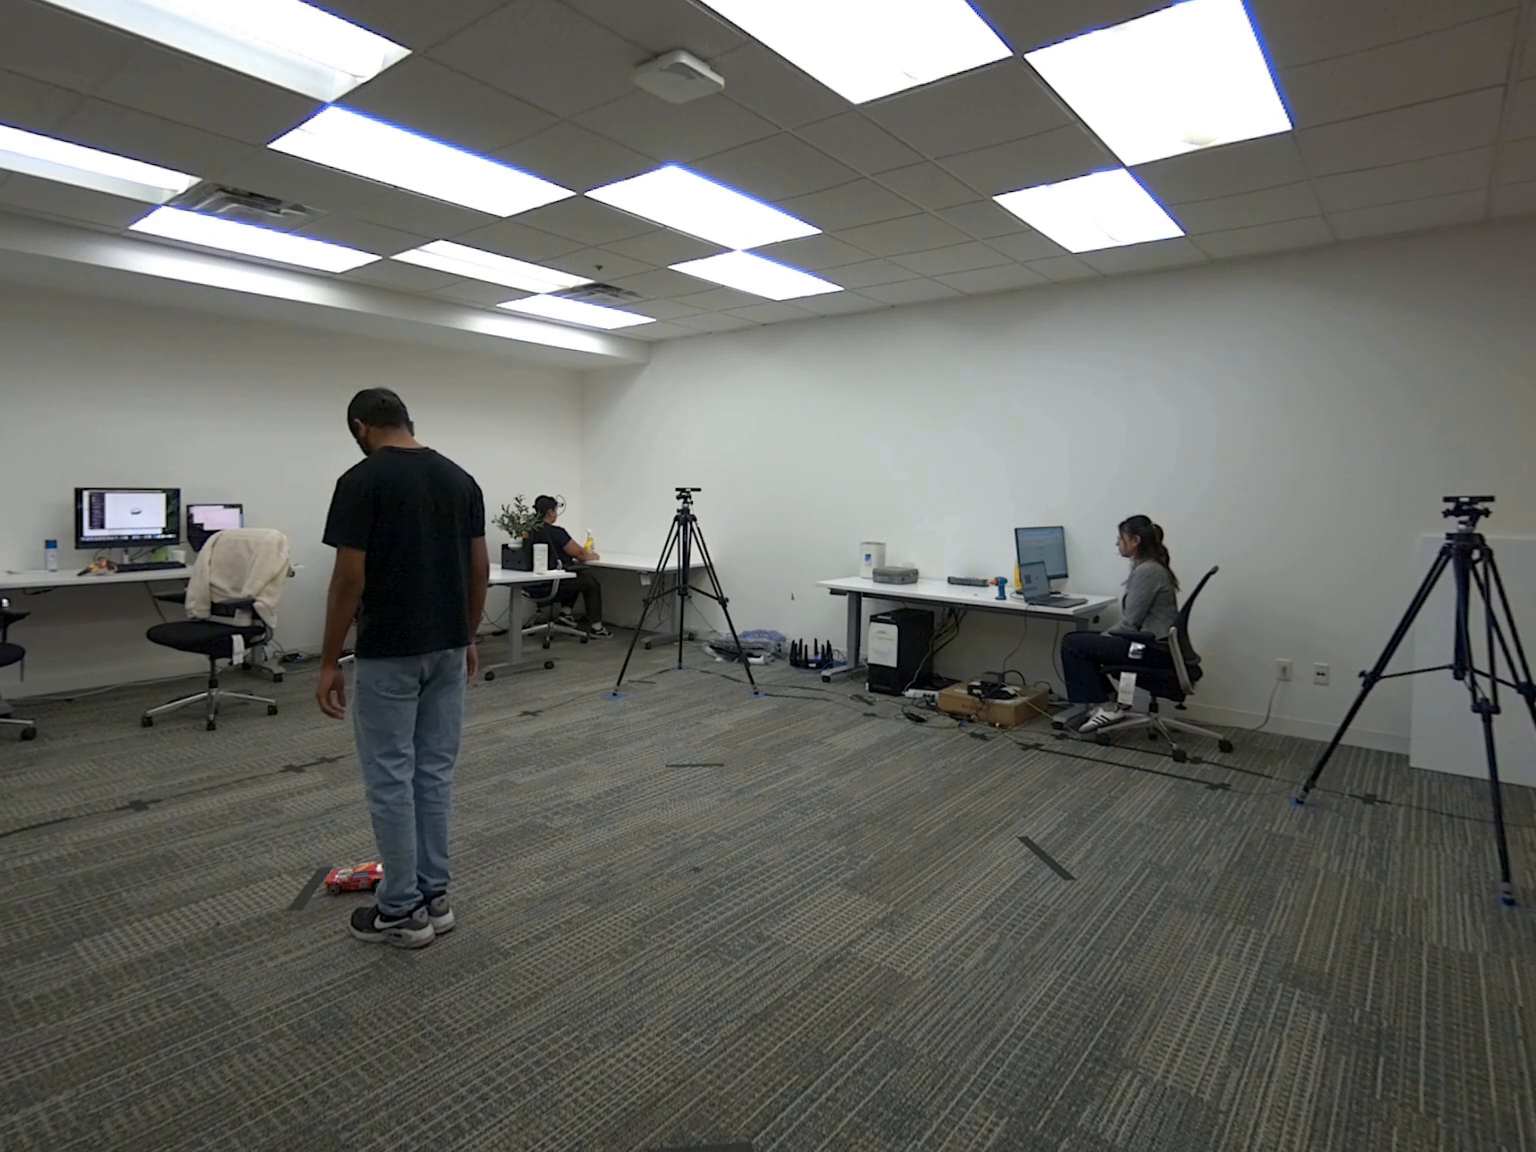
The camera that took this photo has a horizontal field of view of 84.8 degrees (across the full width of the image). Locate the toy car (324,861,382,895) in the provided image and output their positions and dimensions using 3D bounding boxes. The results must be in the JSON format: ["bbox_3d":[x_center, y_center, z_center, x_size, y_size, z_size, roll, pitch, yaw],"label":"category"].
[{"bbox_3d":[-1.401,1.042,2.937,0.253,0.083,0.132,-11,6,-9],"label":"toy car"}]
